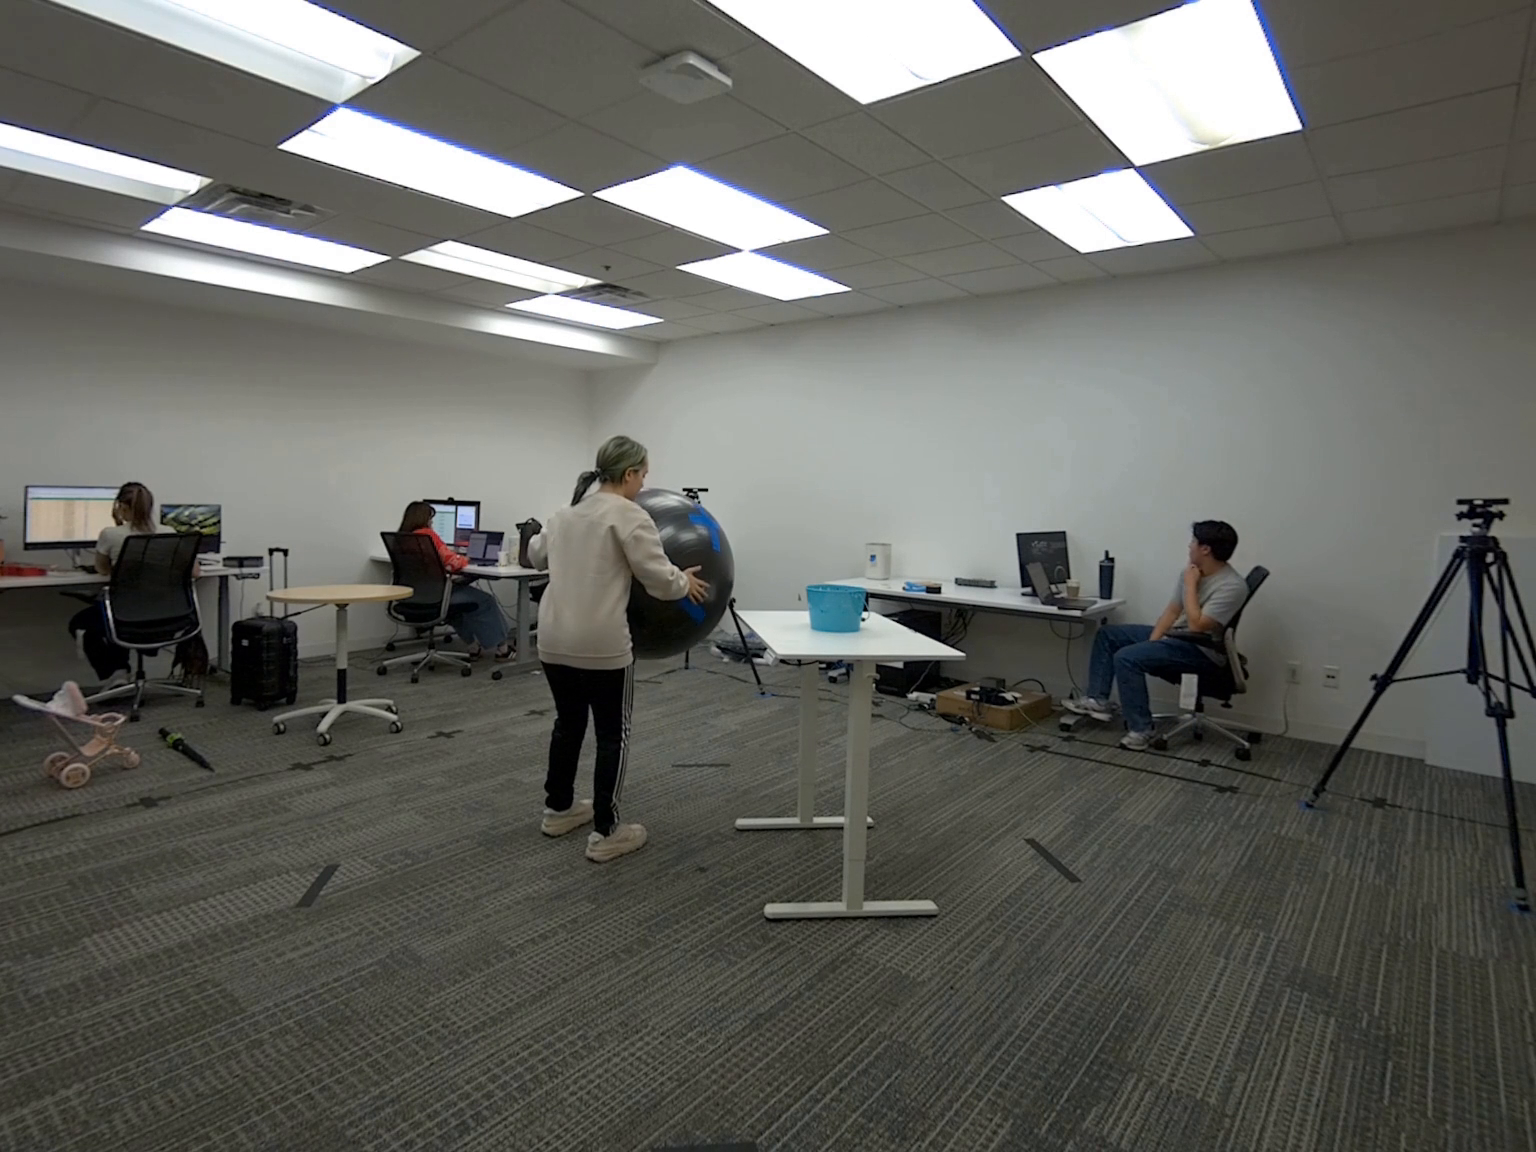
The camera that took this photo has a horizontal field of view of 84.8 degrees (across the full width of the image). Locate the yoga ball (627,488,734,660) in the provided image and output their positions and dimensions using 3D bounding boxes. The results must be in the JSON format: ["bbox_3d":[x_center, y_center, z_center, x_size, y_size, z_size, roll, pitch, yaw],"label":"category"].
[{"bbox_3d":[-0.534,-0.010,3.790,0.757,0.755,0.762,1,4,-2],"label":"yoga ball"}]
